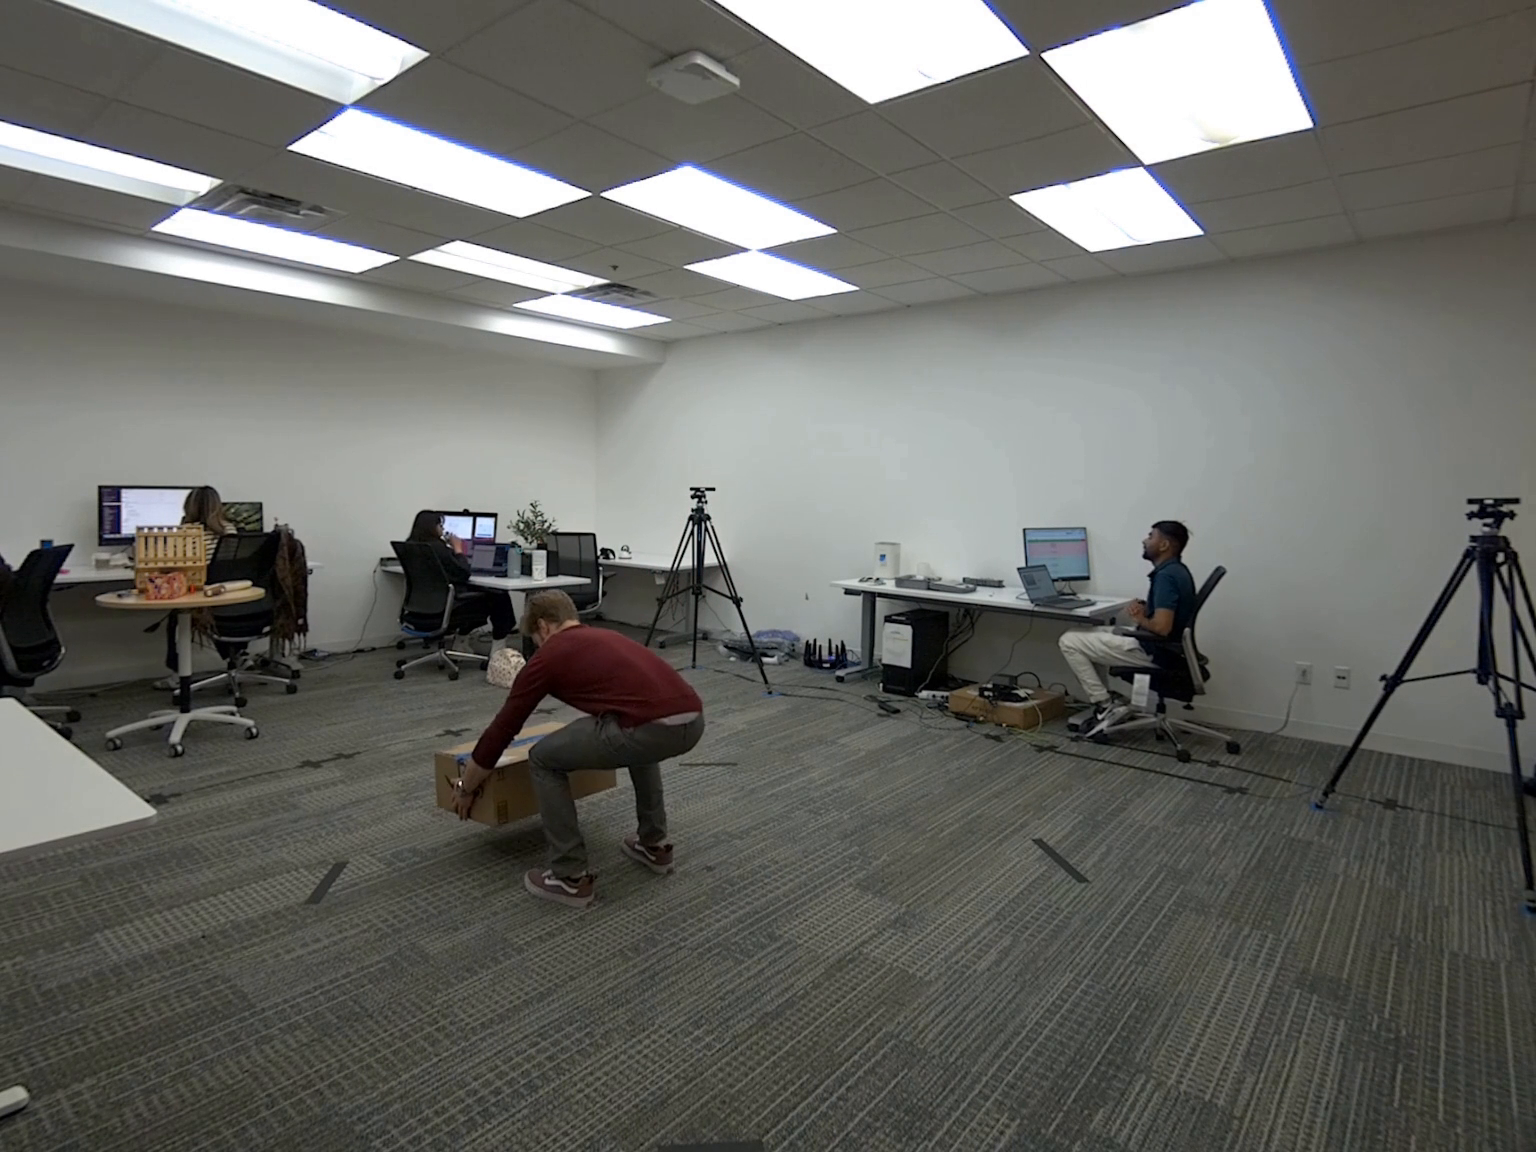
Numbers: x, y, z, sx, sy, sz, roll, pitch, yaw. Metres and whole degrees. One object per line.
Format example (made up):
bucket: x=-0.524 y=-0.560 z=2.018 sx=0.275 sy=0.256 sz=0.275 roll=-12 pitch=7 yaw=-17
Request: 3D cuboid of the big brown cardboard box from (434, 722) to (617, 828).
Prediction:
big brown cardboard box: x=-0.963 y=0.750 z=3.344 sx=0.431 sy=0.233 sz=0.572 roll=0 pitch=4 yaw=41
